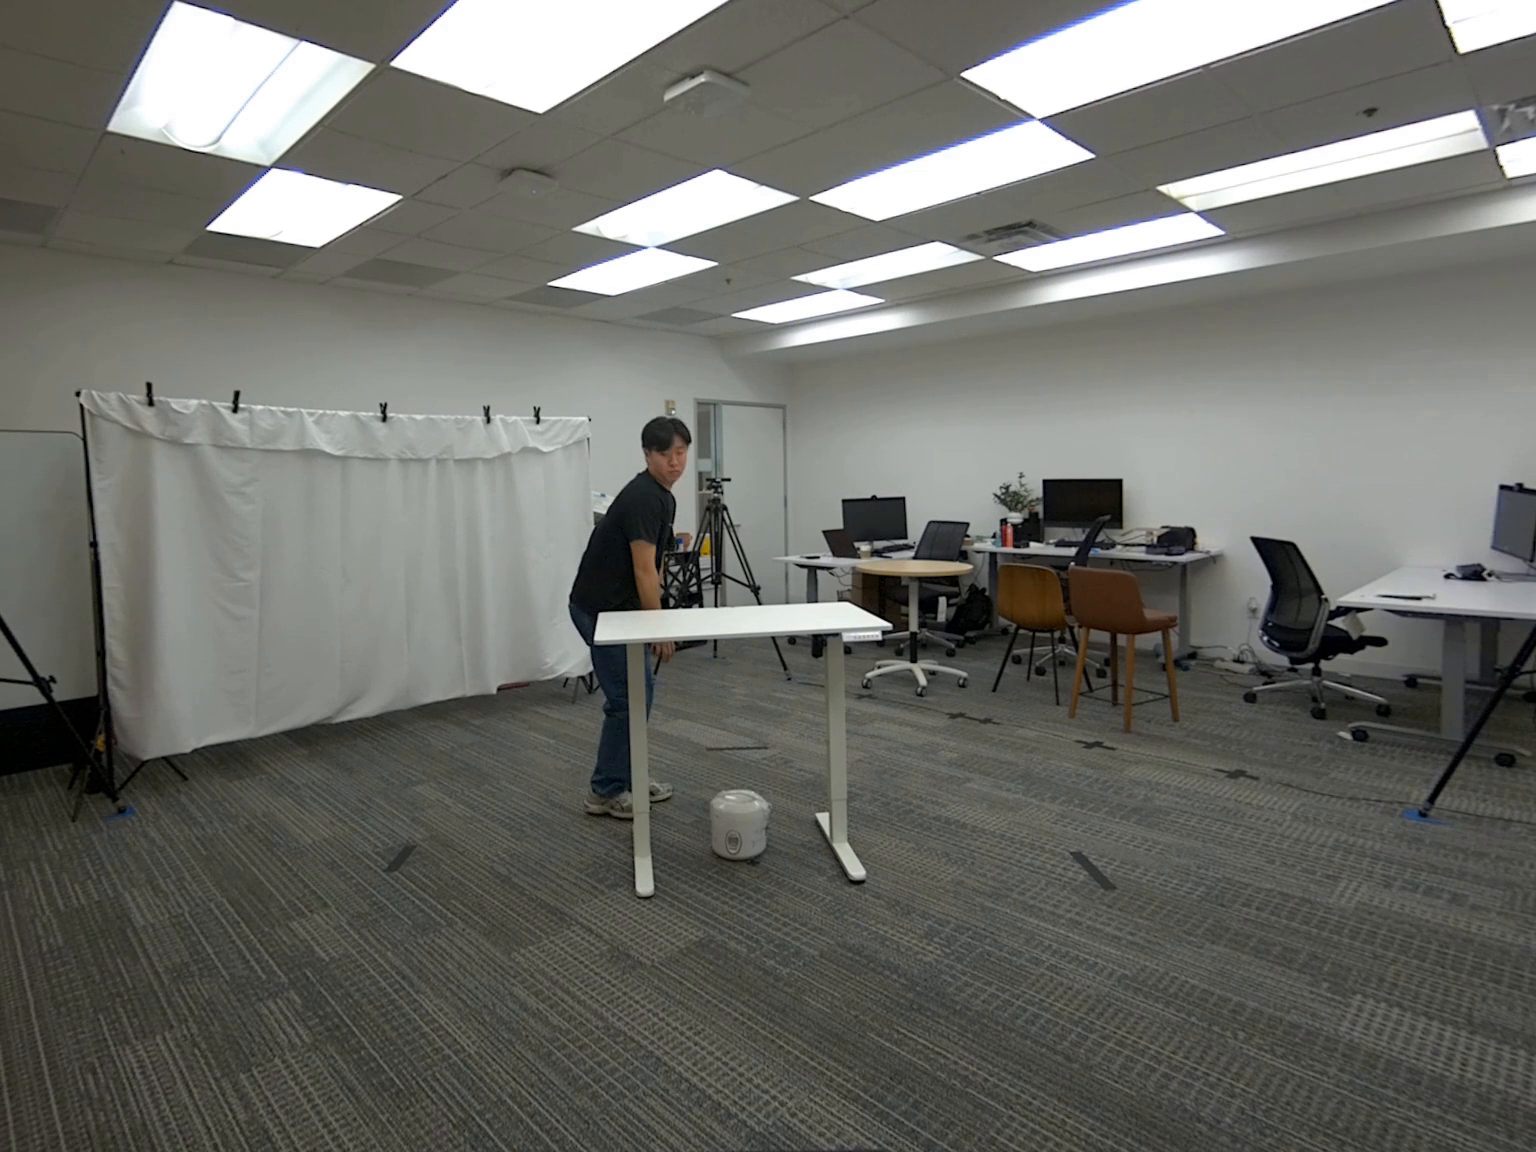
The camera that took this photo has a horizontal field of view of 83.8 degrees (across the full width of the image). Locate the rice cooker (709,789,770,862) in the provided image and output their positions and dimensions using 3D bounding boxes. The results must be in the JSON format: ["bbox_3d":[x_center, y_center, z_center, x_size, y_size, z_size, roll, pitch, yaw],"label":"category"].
[{"bbox_3d":[-0.102,0.915,3.197,0.223,0.232,0.215,0,3,11],"label":"rice cooker"}]
